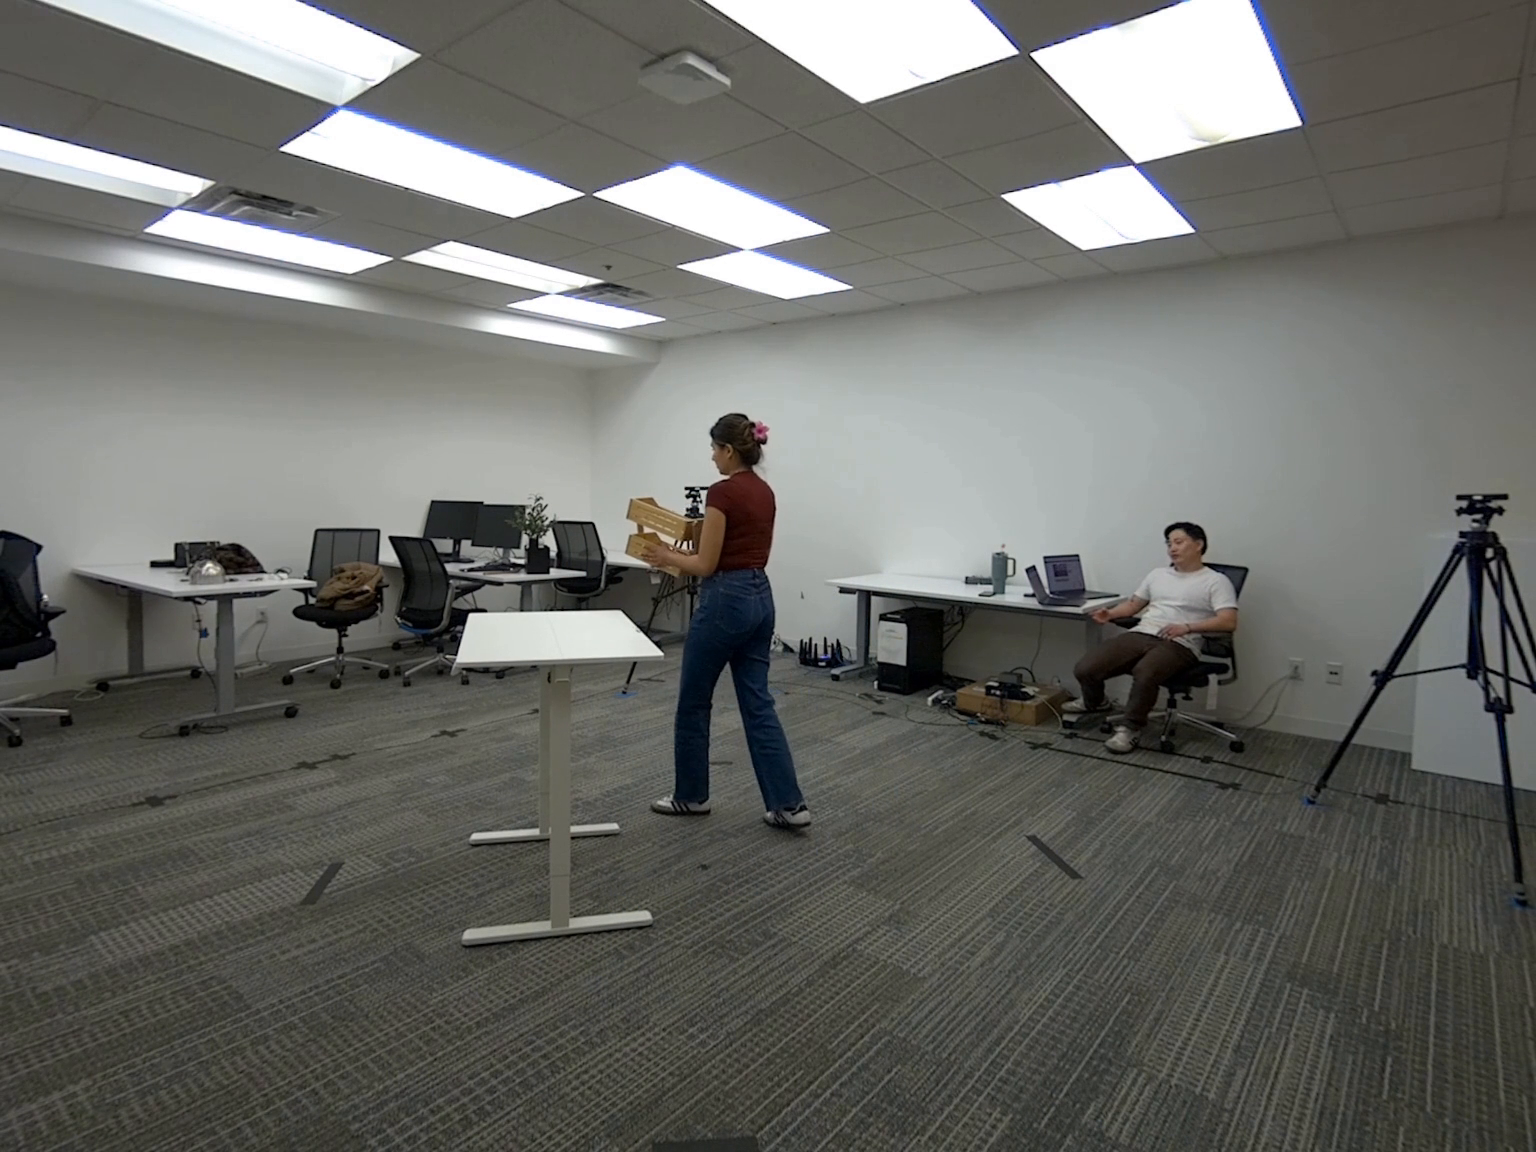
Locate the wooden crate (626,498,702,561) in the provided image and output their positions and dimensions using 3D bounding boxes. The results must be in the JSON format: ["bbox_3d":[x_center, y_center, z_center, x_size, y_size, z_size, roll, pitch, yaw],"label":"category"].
[{"bbox_3d":[-0.436,-0.187,3.716,0.335,0.271,0.295,22,16,26],"label":"wooden crate"}]
